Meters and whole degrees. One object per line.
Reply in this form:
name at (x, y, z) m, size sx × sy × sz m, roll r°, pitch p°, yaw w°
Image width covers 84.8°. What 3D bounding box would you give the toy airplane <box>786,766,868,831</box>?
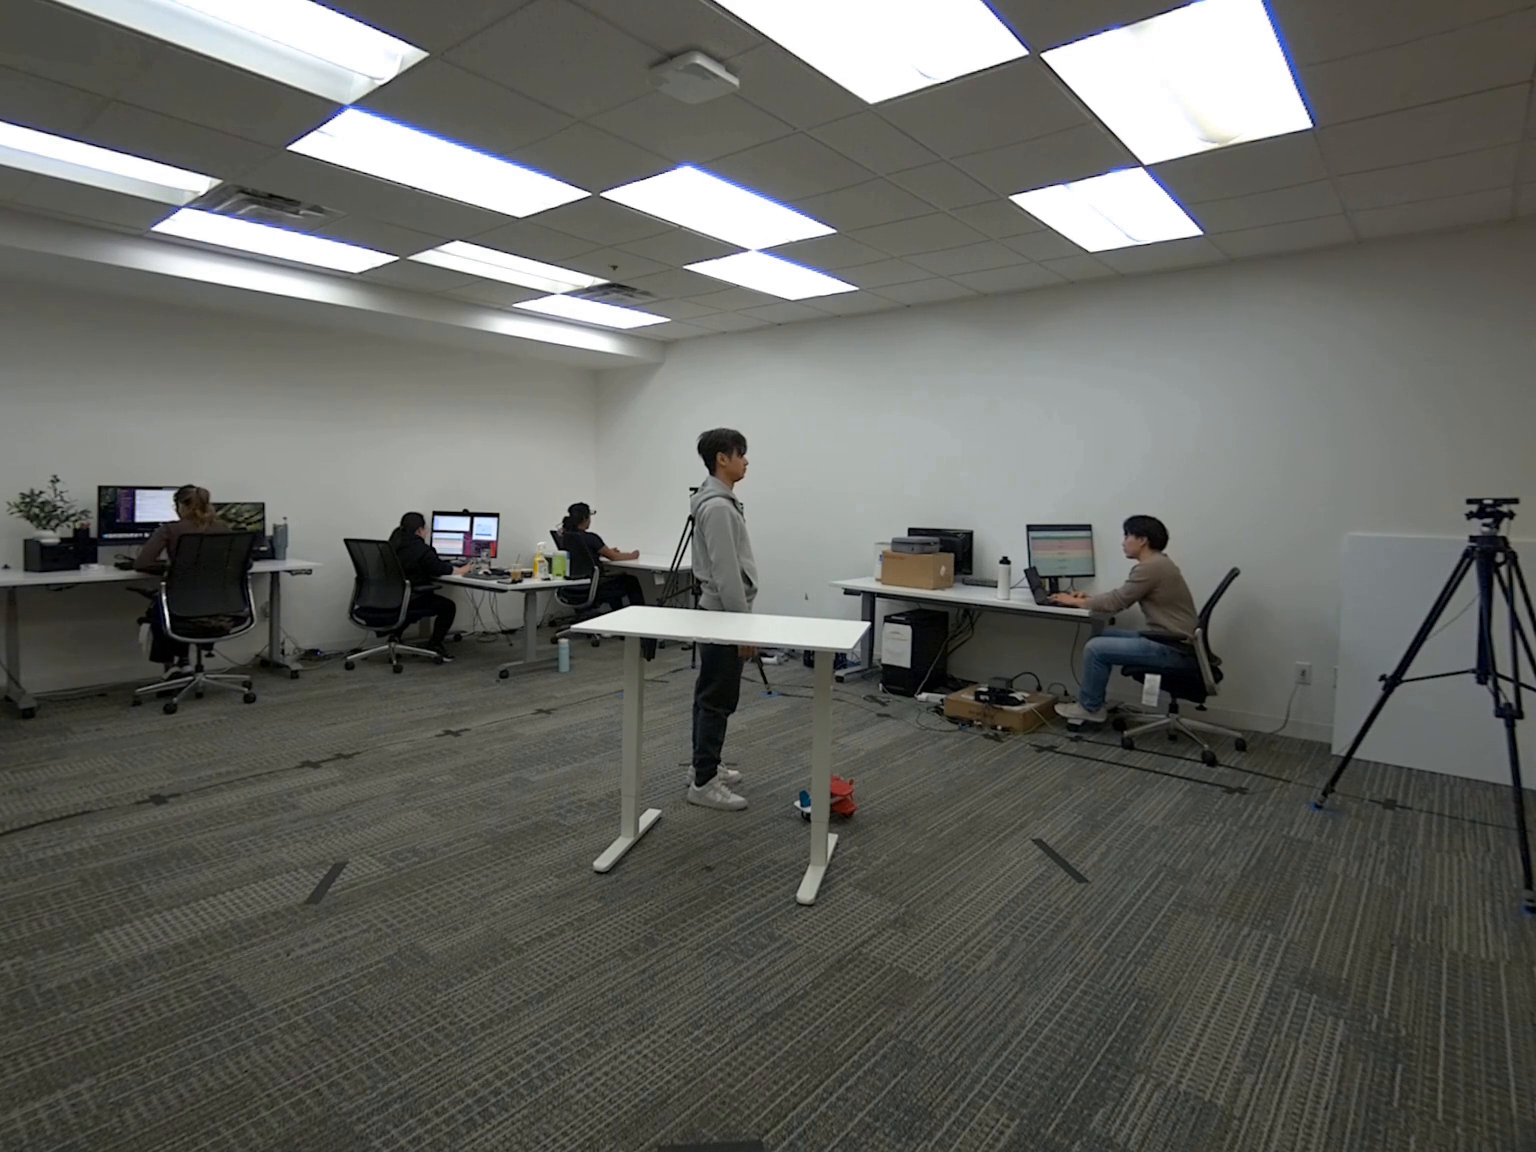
toy airplane at (0.252, 0.949, 3.617) m, size 0.259 × 0.156 × 0.252 m, roll 3°, pitch 4°, yaw 33°
